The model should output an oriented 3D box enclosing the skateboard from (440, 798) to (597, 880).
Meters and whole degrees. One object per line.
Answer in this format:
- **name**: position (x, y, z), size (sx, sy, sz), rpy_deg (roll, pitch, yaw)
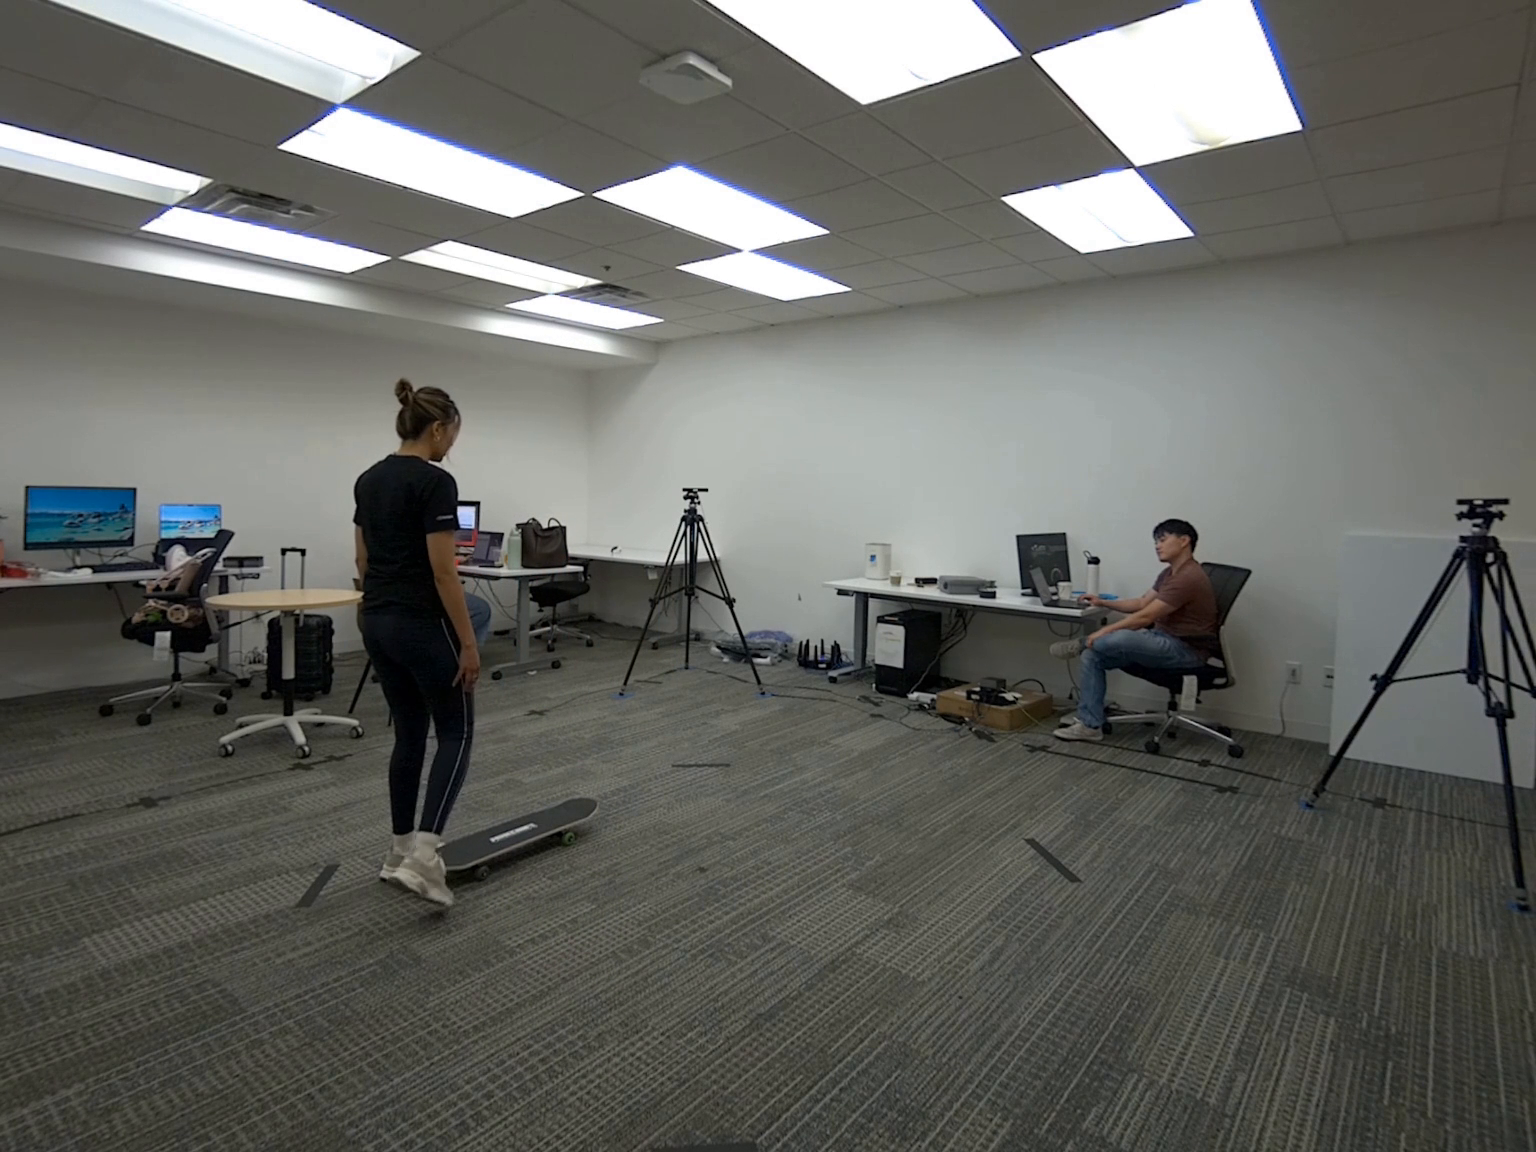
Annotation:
- **skateboard**: position (-0.966, 0.994, 3.199), size (0.200, 0.110, 0.763), rpy_deg (6, 8, 36)
